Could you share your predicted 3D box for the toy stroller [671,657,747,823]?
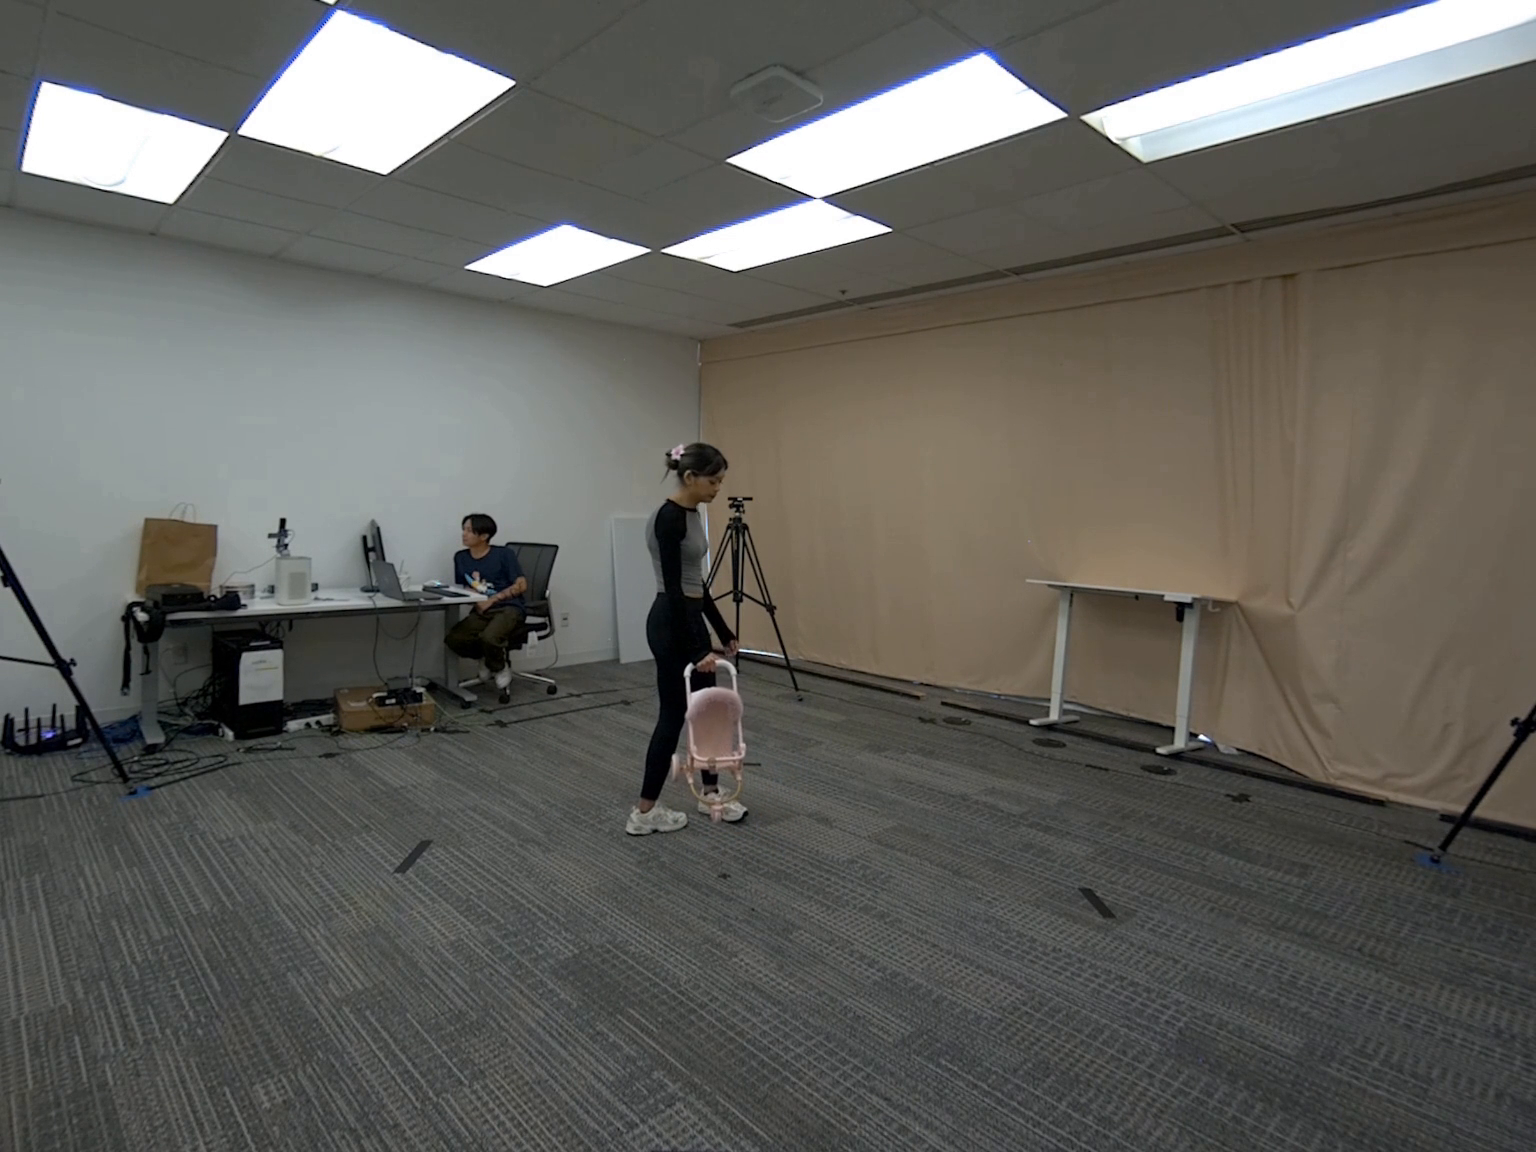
[{"bbox_3d":[-0.218,0.632,3.213,0.279,0.531,0.346,3,10,-10],"label":"toy stroller"}]
